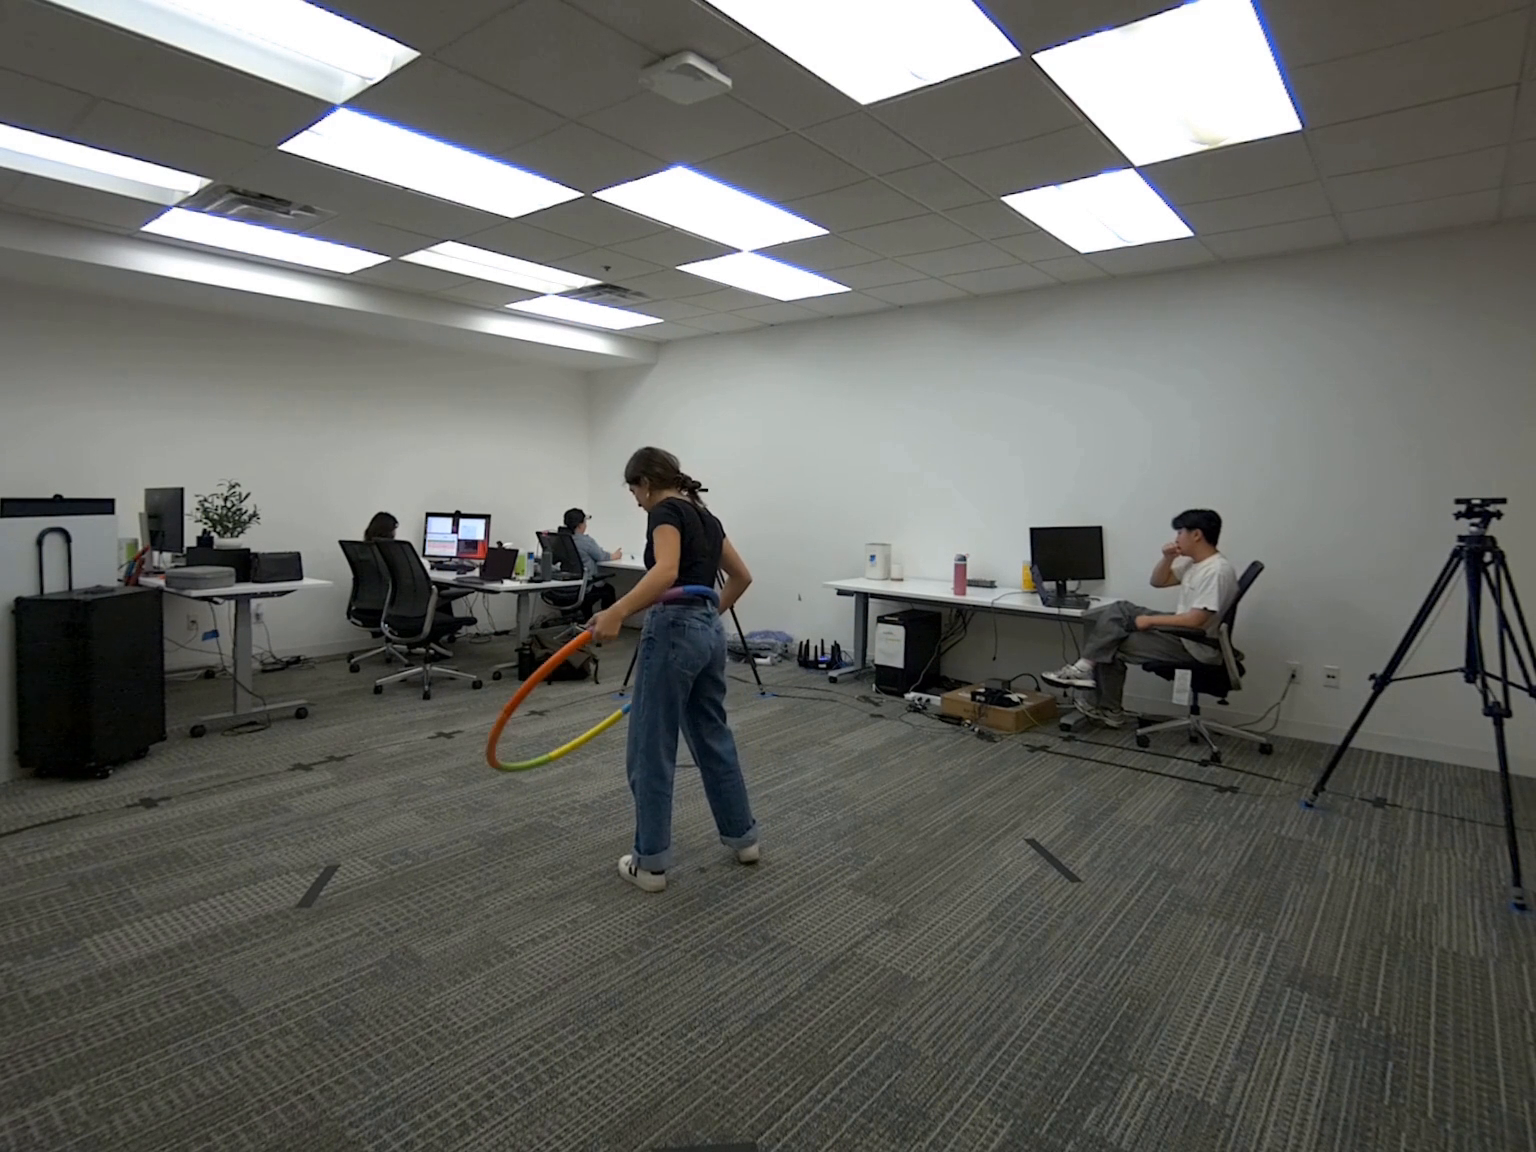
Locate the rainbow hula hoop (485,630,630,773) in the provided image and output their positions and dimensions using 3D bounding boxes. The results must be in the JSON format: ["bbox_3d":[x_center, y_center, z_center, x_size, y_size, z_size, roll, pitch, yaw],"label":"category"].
[{"bbox_3d":[-0.561,0.363,3.064,0.036,0.977,0.954,48,25,17],"label":"rainbow hula hoop"}]
